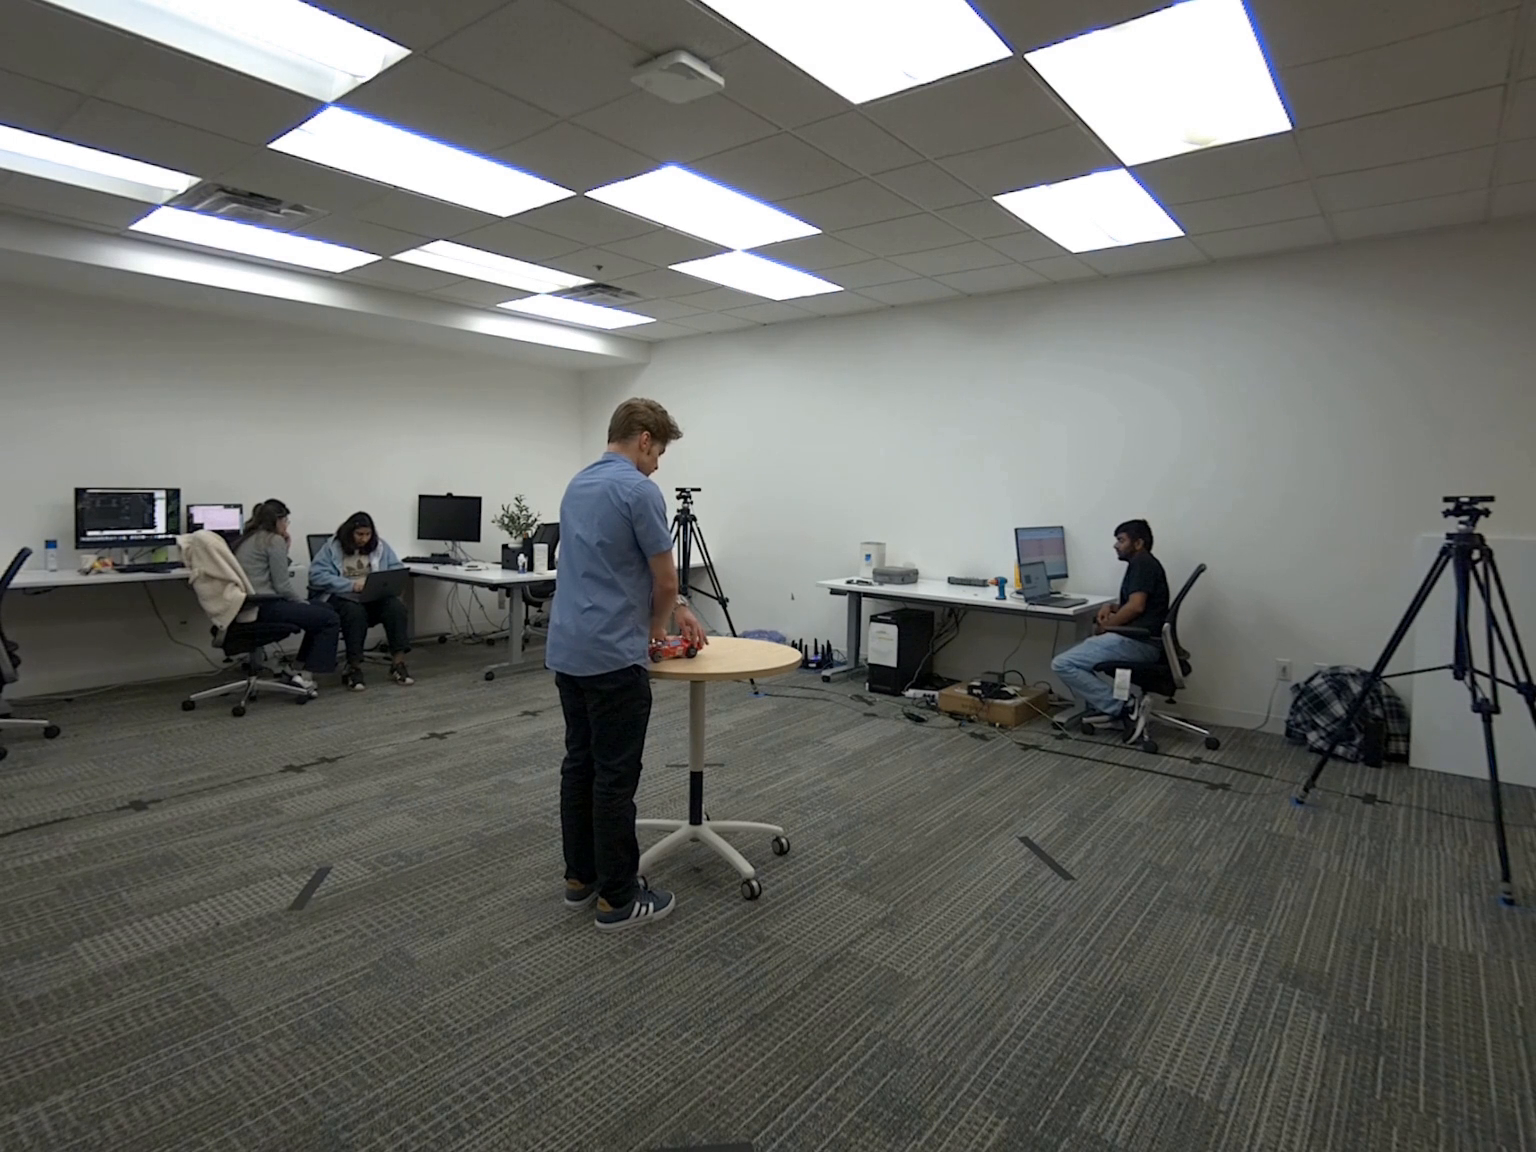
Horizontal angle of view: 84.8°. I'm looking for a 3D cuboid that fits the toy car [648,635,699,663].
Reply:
[{"bbox_3d":[-0.344,0.260,3.044,0.249,0.082,0.135,-19,16,-34],"label":"toy car"}]
